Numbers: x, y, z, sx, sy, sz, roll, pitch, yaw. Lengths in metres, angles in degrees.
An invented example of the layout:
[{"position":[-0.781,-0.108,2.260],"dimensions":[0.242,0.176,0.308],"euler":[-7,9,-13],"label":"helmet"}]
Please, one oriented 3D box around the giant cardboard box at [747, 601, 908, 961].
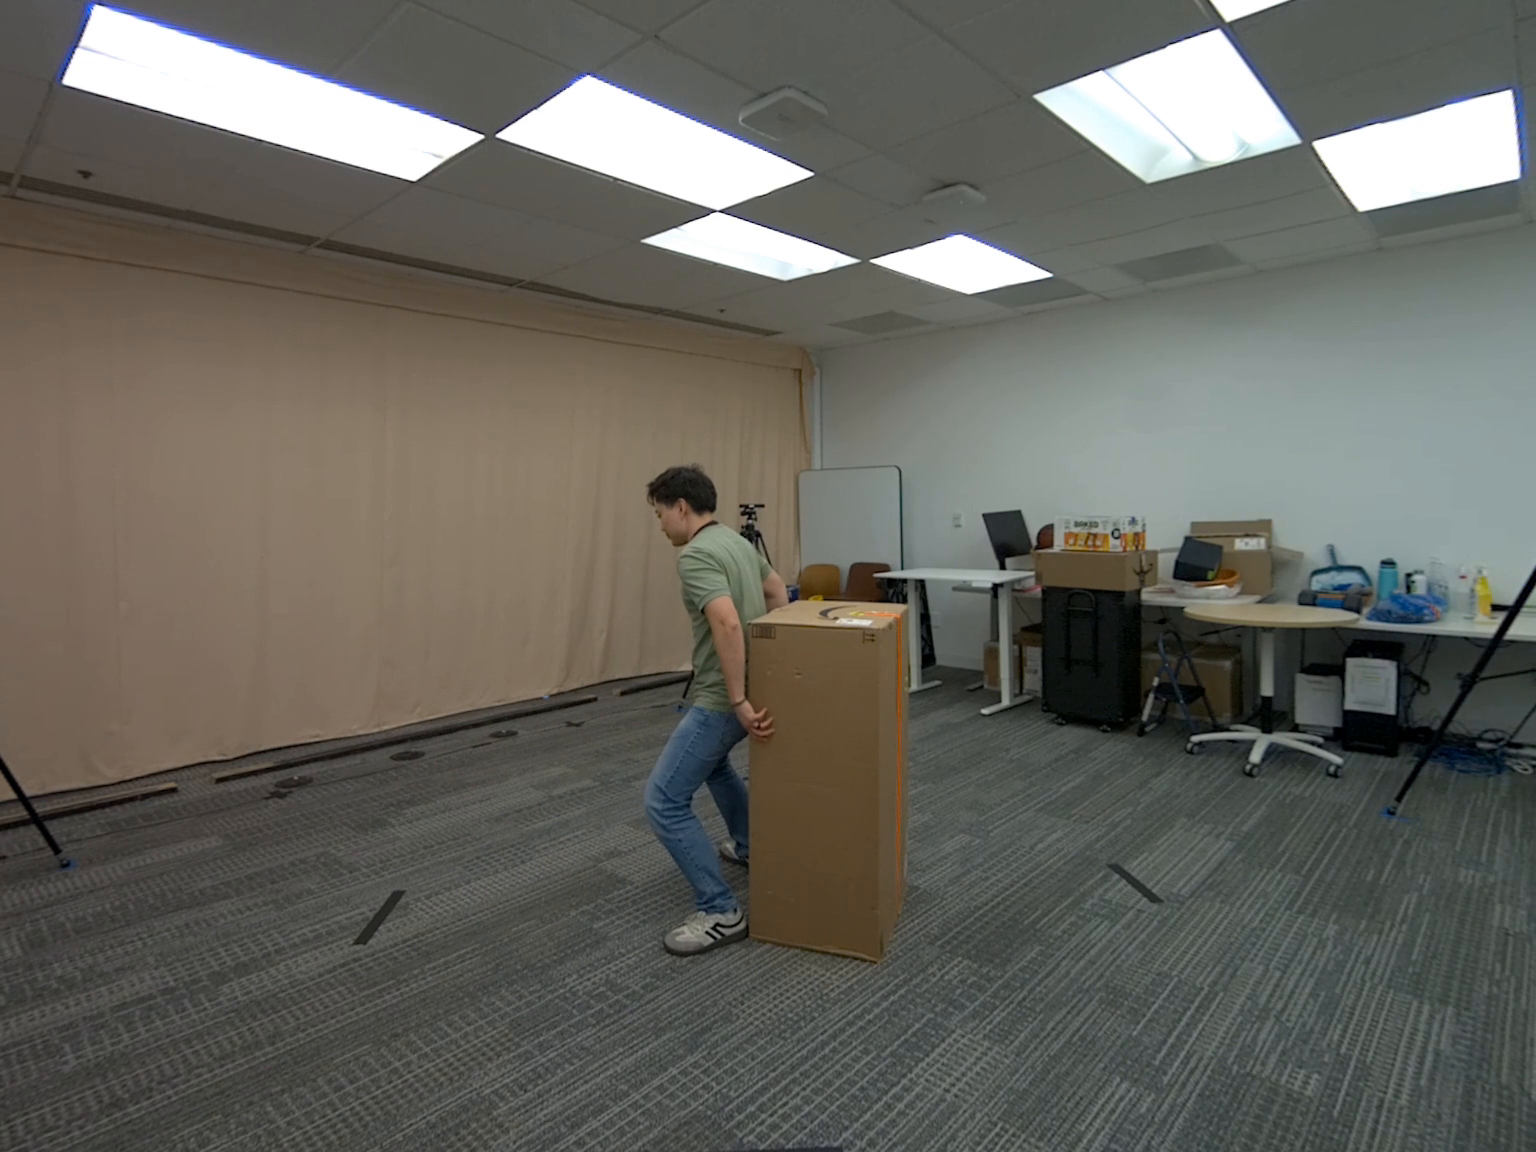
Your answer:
[{"position":[0.233,0.630,2.850],"dimensions":[0.435,1.023,0.567],"euler":[1,4,19],"label":"giant cardboard box"}]
